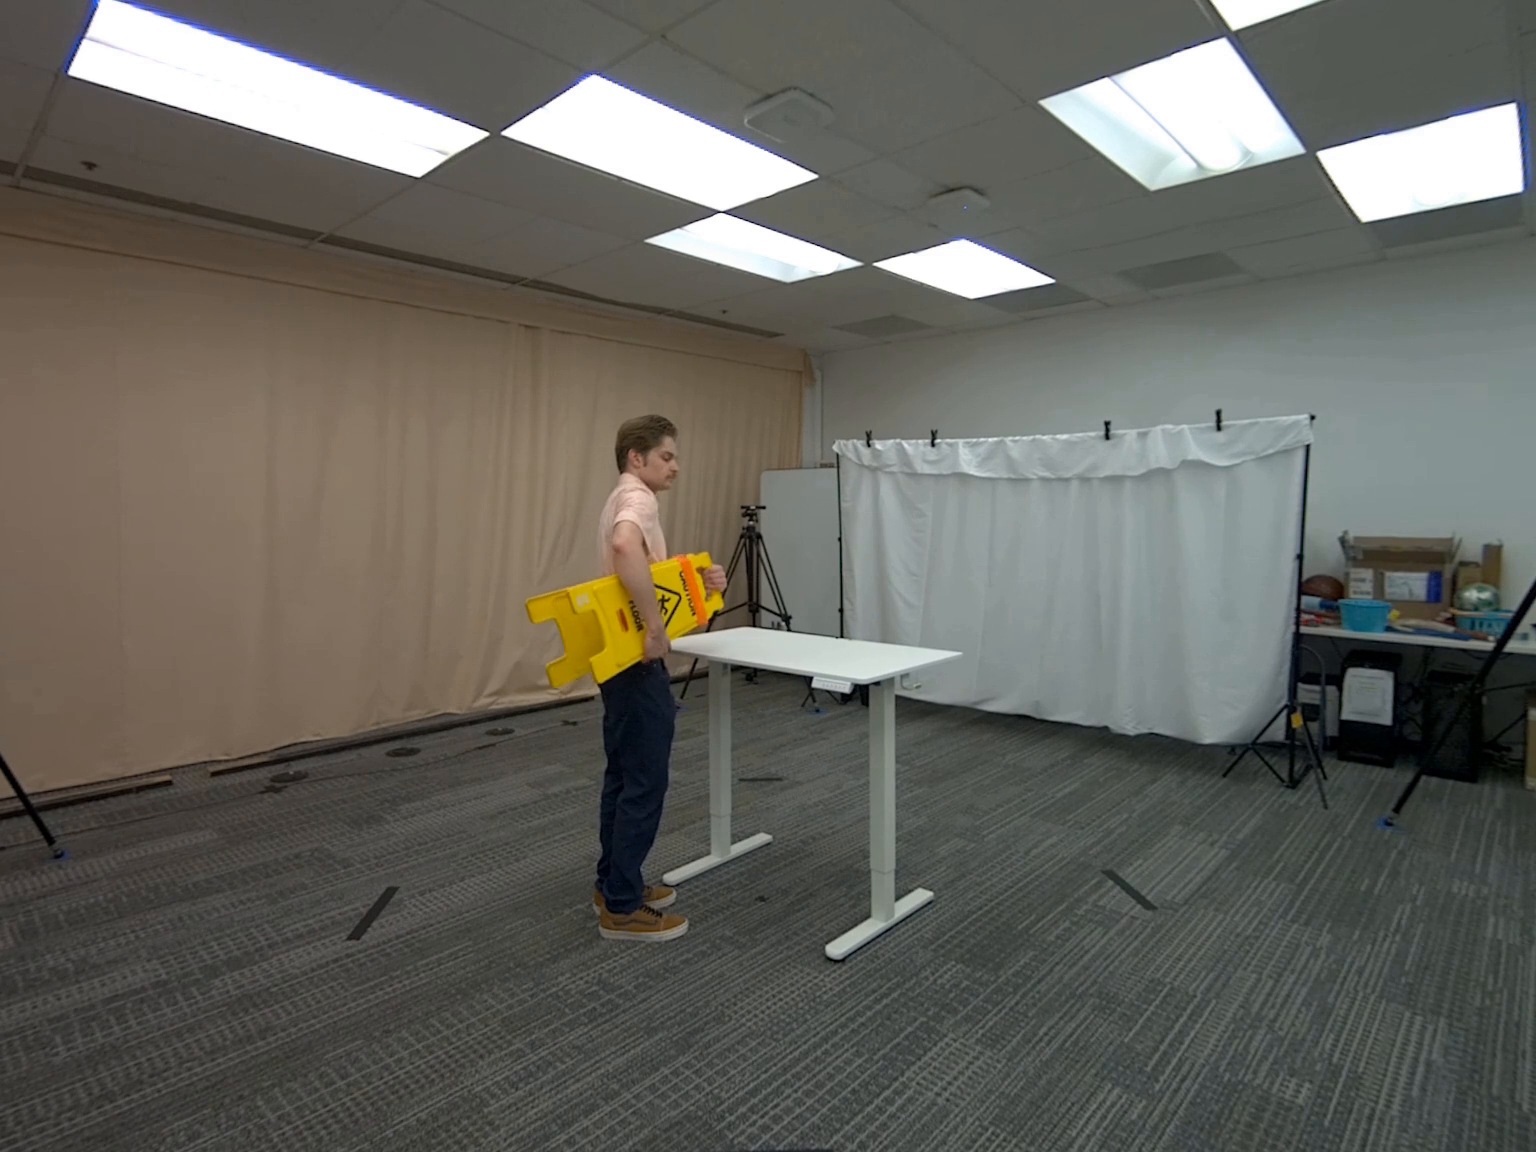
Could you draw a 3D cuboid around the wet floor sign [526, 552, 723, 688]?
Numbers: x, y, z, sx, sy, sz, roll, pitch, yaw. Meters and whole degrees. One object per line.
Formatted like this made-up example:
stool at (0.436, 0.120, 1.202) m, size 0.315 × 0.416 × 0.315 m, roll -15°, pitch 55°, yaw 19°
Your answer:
wet floor sign at (-0.382, 0.106, 2.638) m, size 0.631 × 0.281 × 0.298 m, roll -22°, pitch 7°, yaw -42°
